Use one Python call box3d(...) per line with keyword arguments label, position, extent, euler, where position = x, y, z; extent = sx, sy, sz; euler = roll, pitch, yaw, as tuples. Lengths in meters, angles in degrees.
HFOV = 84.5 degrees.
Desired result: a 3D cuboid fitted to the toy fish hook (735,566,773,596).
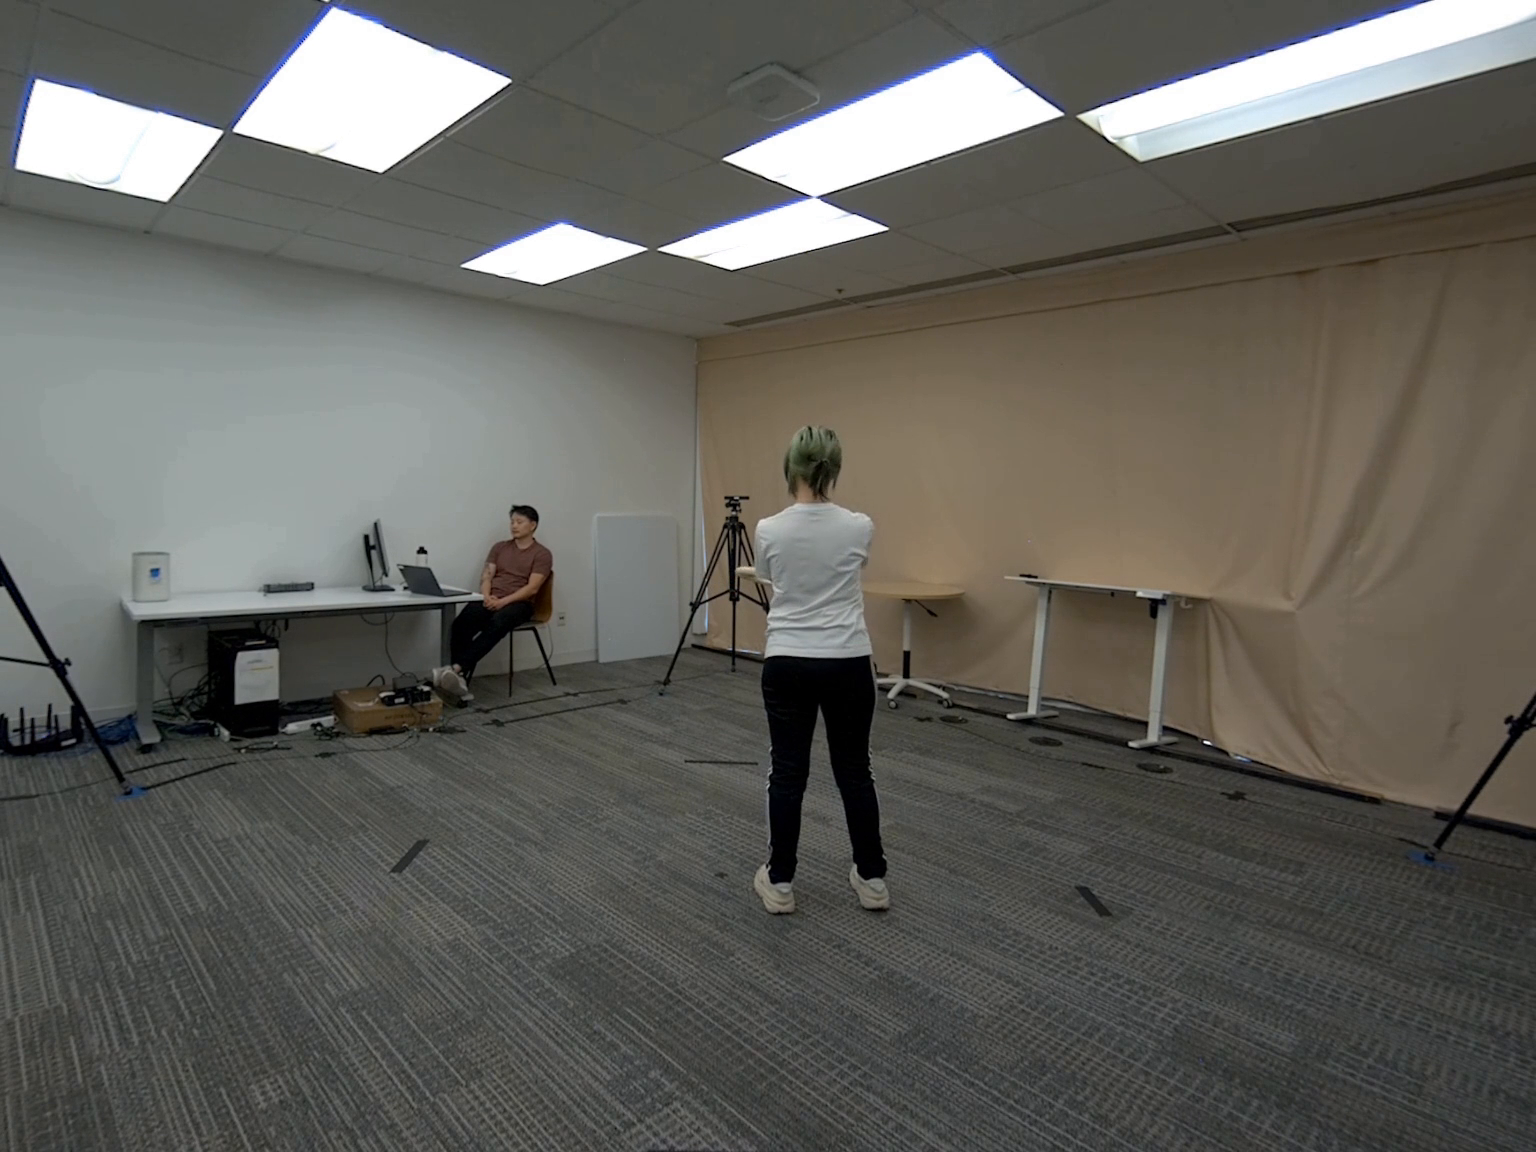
box3d(label="toy fish hook", position=(0.115, 0.024, 3.429), extent=(0.519, 0.048, 0.218), euler=(9, -8, 32))
